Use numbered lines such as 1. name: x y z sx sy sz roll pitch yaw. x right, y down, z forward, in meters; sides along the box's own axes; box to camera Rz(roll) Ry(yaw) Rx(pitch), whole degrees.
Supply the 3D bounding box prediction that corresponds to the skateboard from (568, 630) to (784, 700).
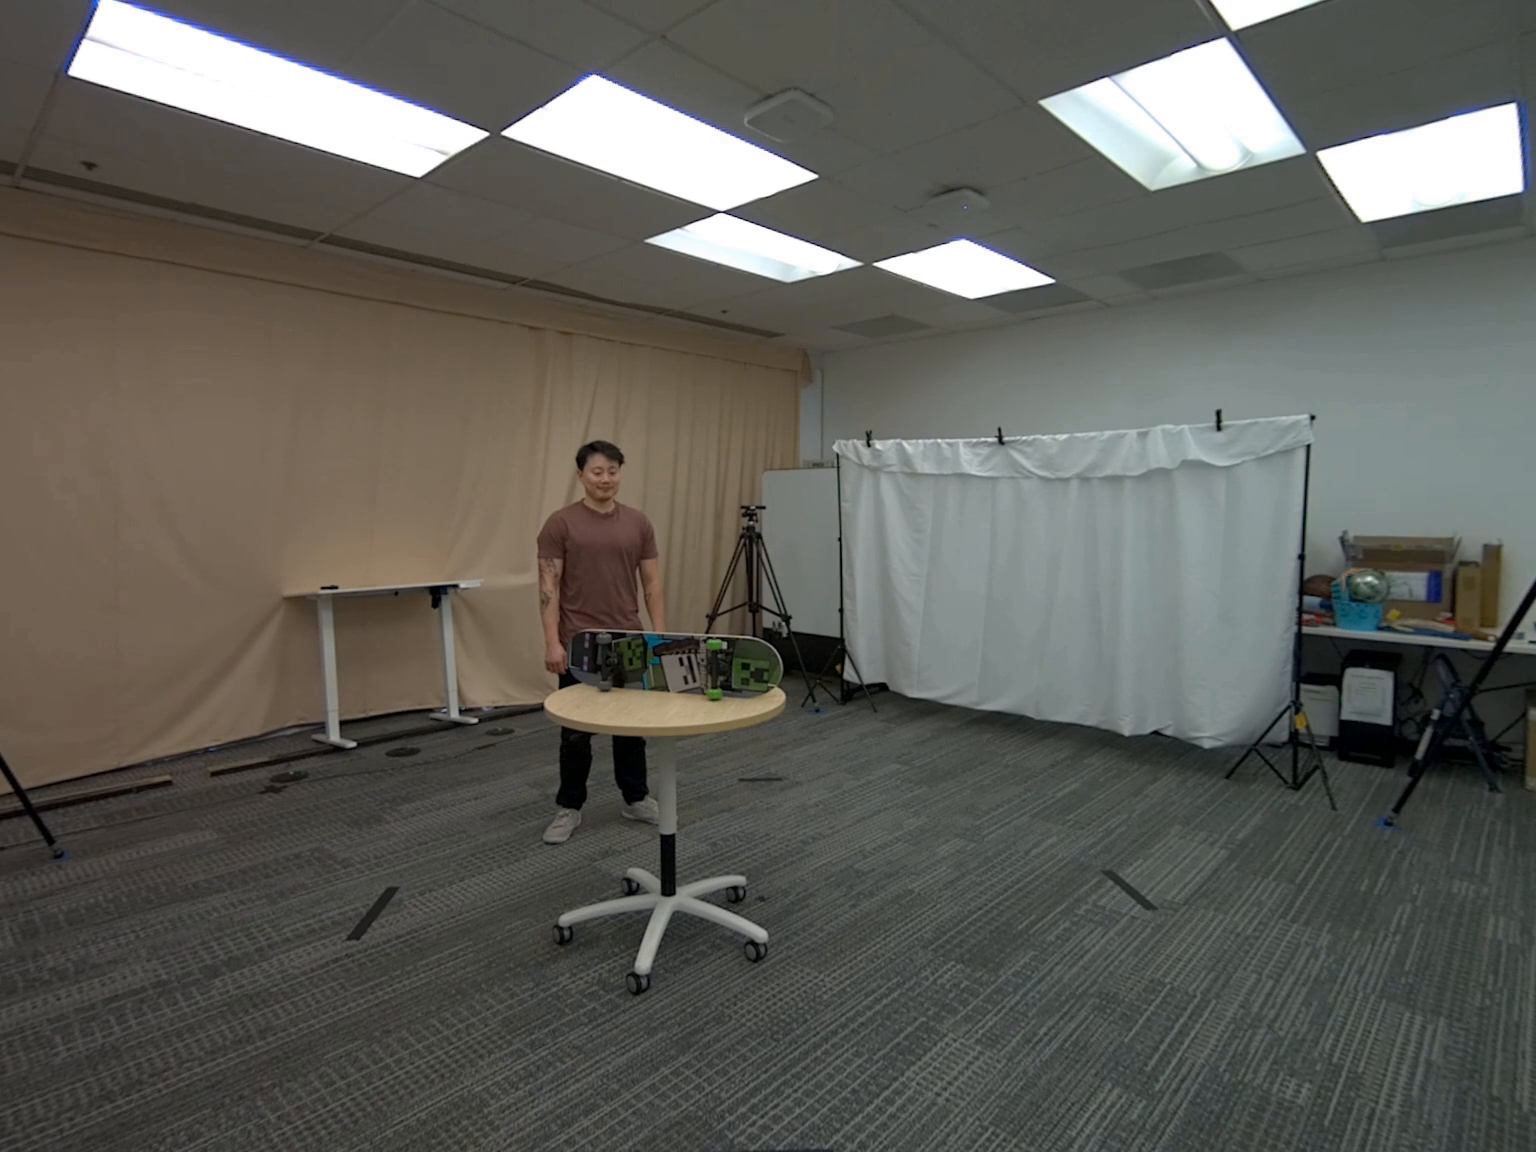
1. skateboard: -0.332 0.287 2.732 0.804 0.193 0.108 1 4 23
